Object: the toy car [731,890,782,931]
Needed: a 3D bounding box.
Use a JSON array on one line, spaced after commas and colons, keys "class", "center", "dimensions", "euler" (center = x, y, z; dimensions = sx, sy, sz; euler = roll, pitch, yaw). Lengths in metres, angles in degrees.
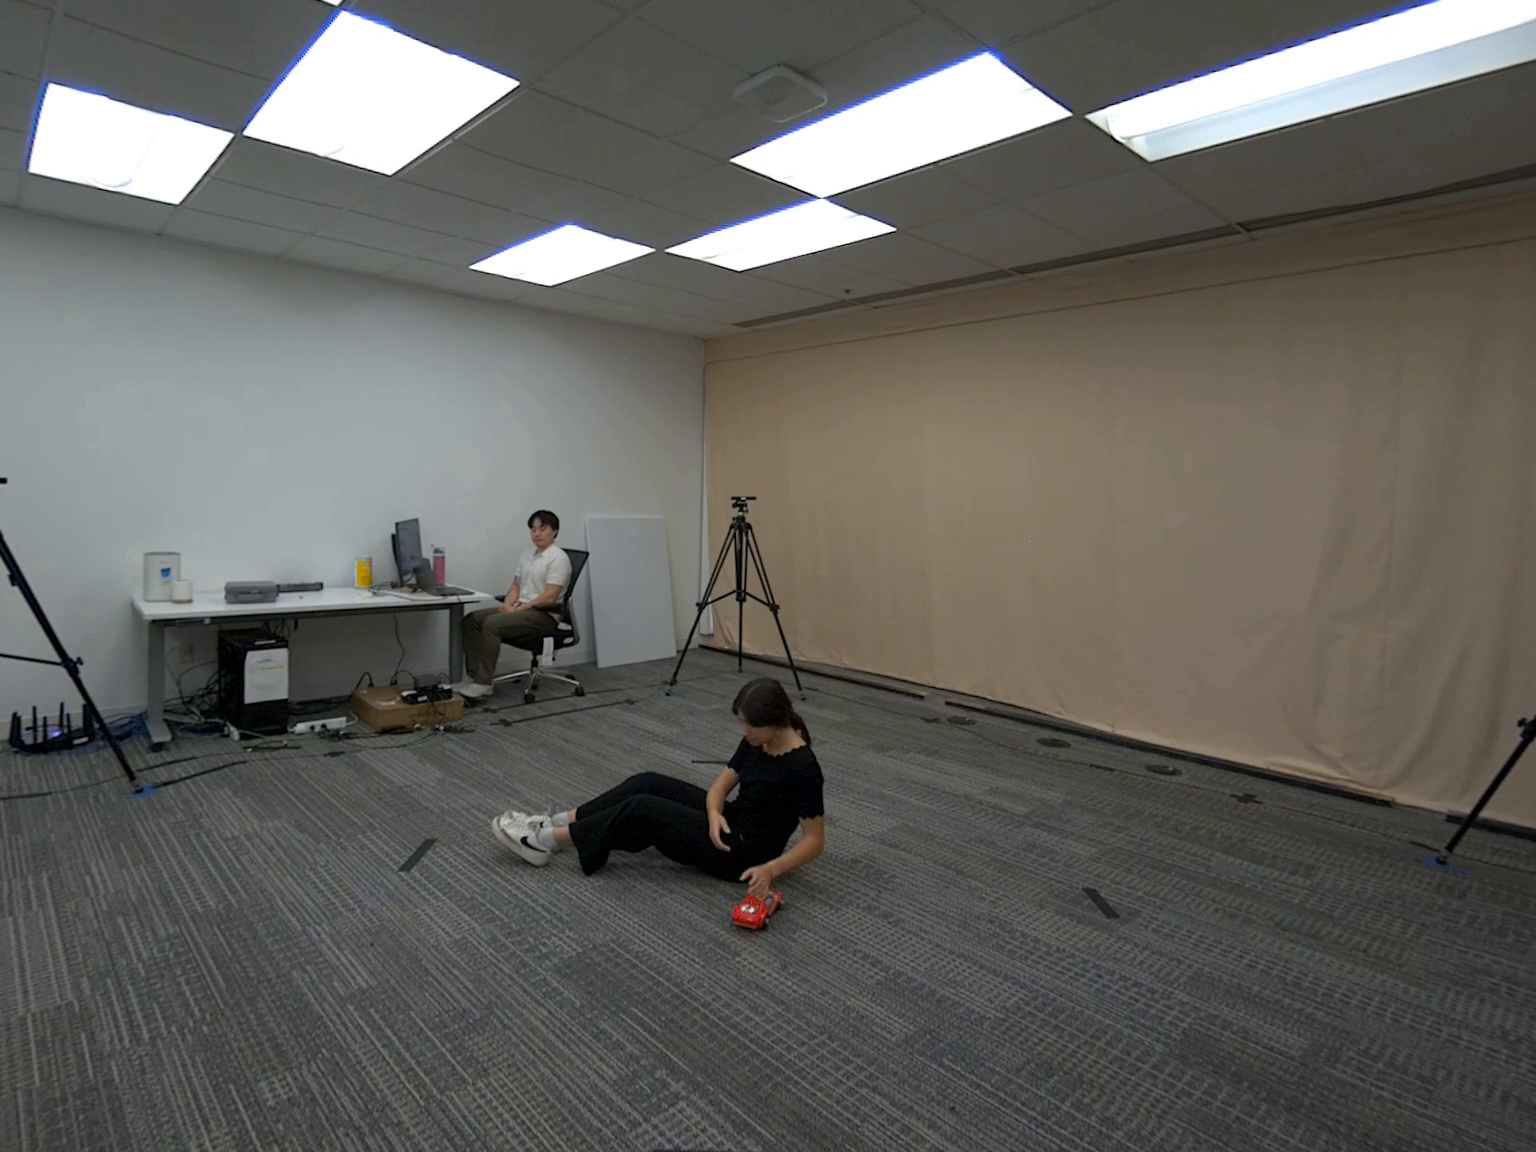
[{"class": "toy car", "center": [-0.051, 1.108, 2.786], "dimensions": [0.132, 0.083, 0.249], "euler": [3, -6, 22]}]
